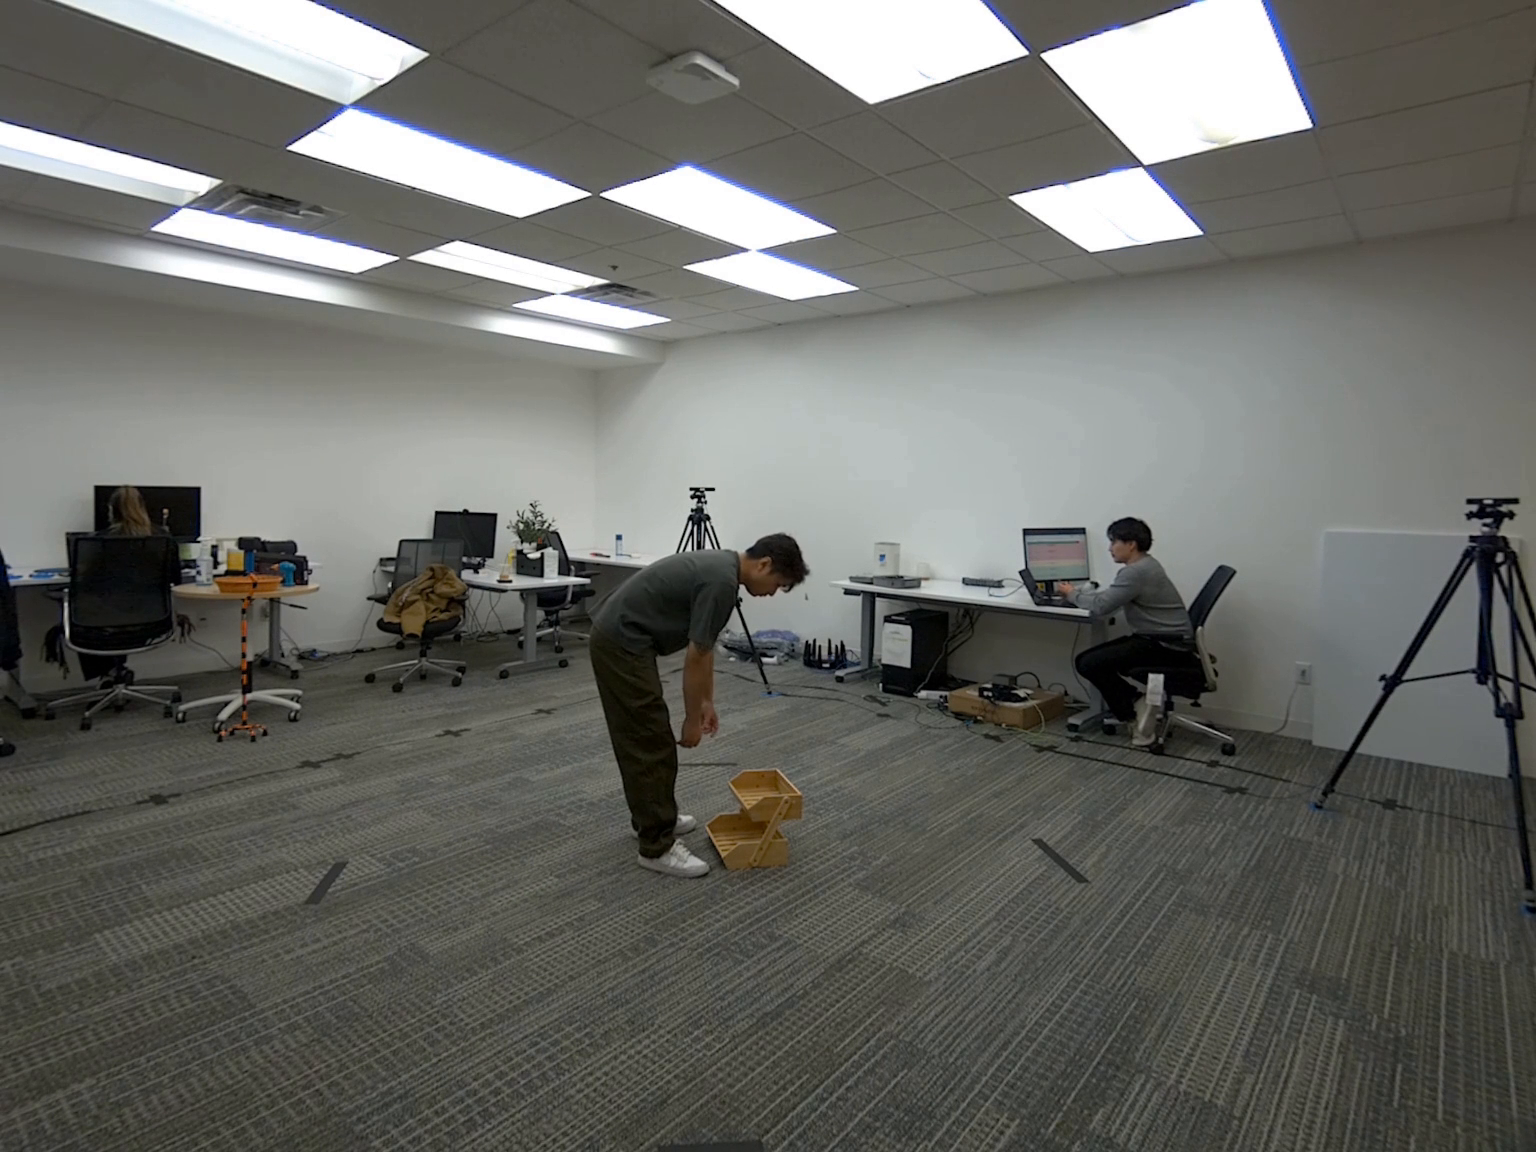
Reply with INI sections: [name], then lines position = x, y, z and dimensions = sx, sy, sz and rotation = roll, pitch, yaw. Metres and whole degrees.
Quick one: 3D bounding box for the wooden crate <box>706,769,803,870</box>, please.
[wooden crate]
position = -0.071, 0.931, 3.268
dimensions = 0.297, 0.272, 0.330
rotation = 3, 4, -15
